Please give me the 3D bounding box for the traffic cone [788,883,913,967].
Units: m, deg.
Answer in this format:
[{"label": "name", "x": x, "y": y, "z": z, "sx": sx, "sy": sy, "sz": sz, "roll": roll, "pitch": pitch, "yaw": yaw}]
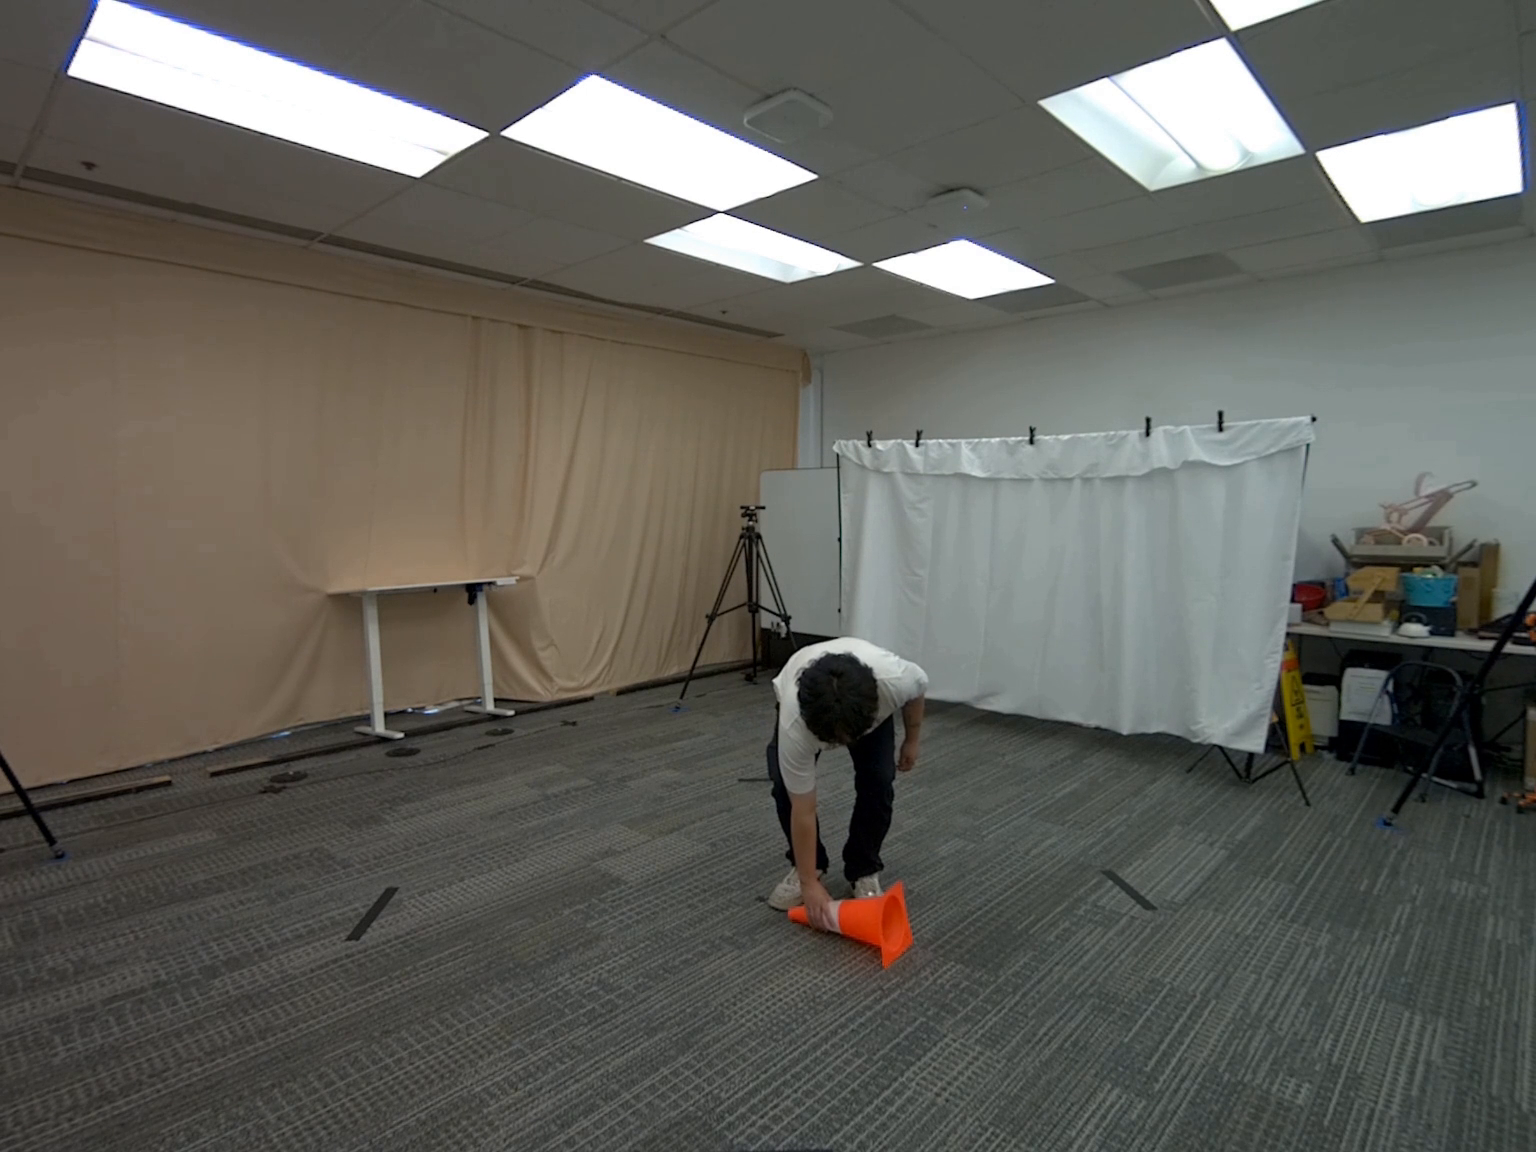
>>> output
[{"label": "traffic cone", "x": 0.237, "y": 1.104, "z": 2.713, "sx": 0.393, "sy": 0.204, "sz": 0.199, "roll": -11, "pitch": -4, "yaw": 33}]
